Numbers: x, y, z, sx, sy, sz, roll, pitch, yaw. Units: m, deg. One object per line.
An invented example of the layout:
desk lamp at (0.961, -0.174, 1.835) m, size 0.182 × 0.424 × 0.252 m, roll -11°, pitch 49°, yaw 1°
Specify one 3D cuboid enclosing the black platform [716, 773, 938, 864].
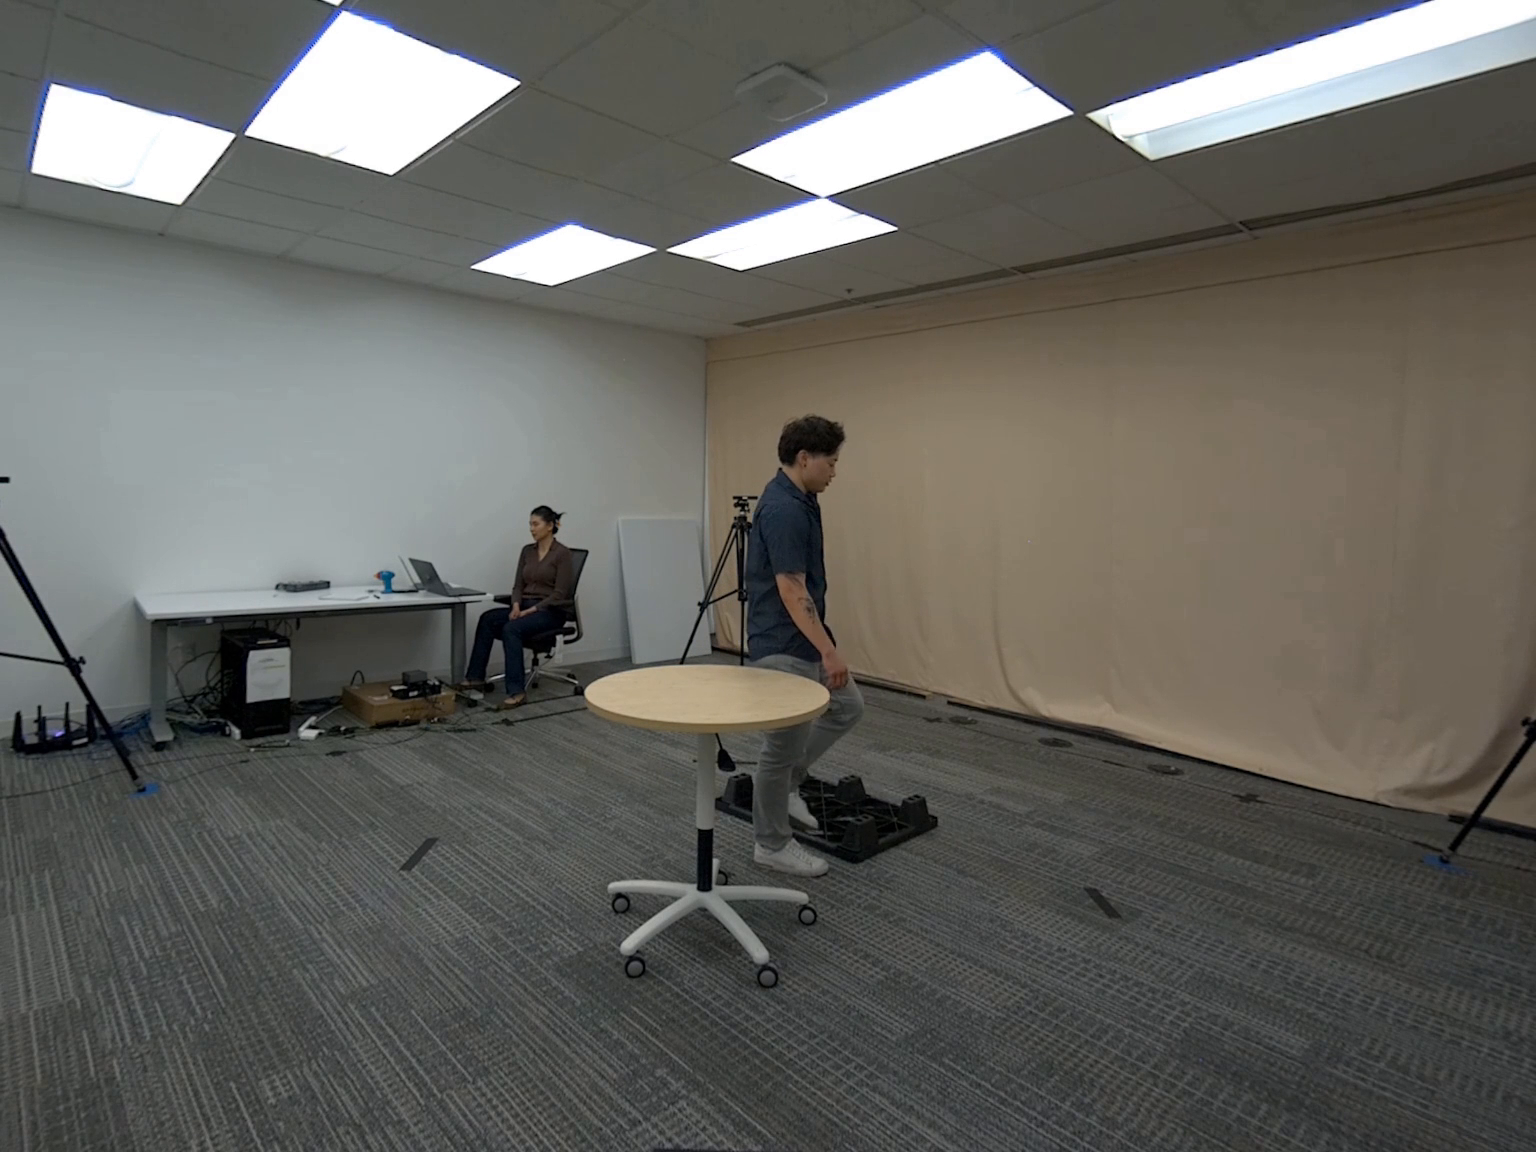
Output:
black platform at (0.244, 0.993, 3.701) m, size 0.826 × 0.143 × 0.591 m, roll 7°, pitch 7°, yaw 44°
